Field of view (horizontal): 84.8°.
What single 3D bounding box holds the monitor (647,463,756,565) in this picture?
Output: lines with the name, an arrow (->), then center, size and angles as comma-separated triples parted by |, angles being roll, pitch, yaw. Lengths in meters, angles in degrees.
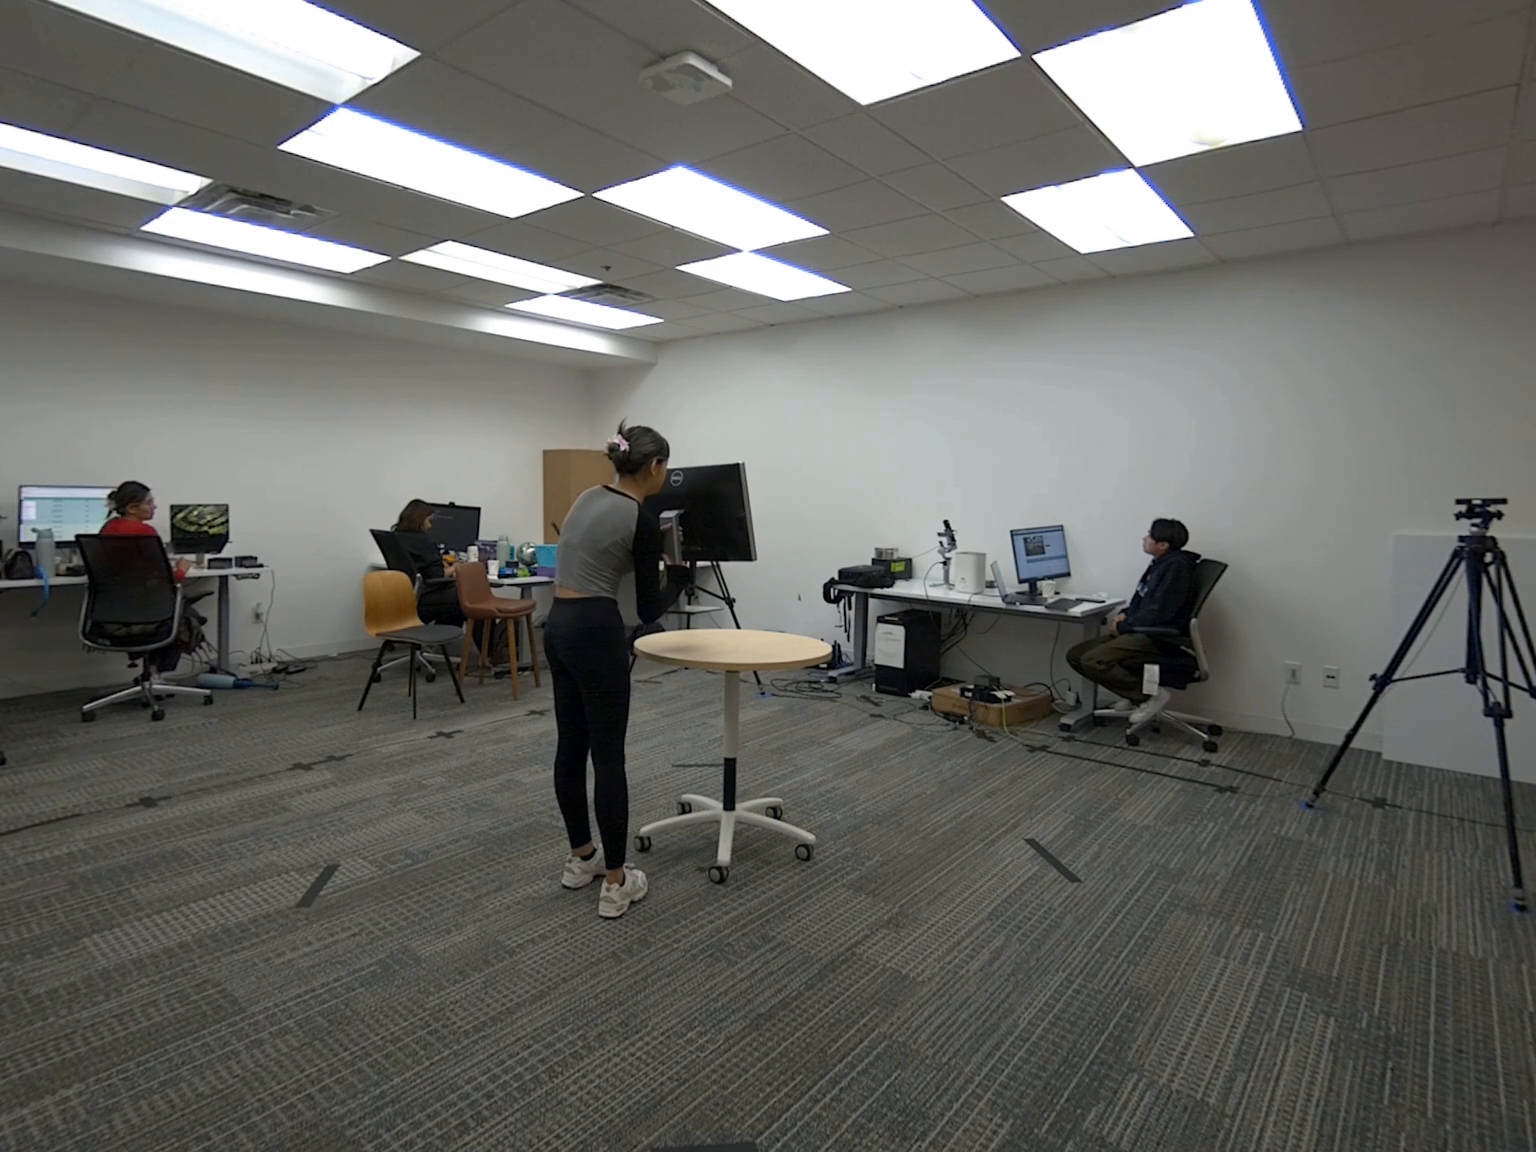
monitor -> -0.328, -0.143, 3.160 | 0.555, 0.523, 0.181 | 0, -1, 33
